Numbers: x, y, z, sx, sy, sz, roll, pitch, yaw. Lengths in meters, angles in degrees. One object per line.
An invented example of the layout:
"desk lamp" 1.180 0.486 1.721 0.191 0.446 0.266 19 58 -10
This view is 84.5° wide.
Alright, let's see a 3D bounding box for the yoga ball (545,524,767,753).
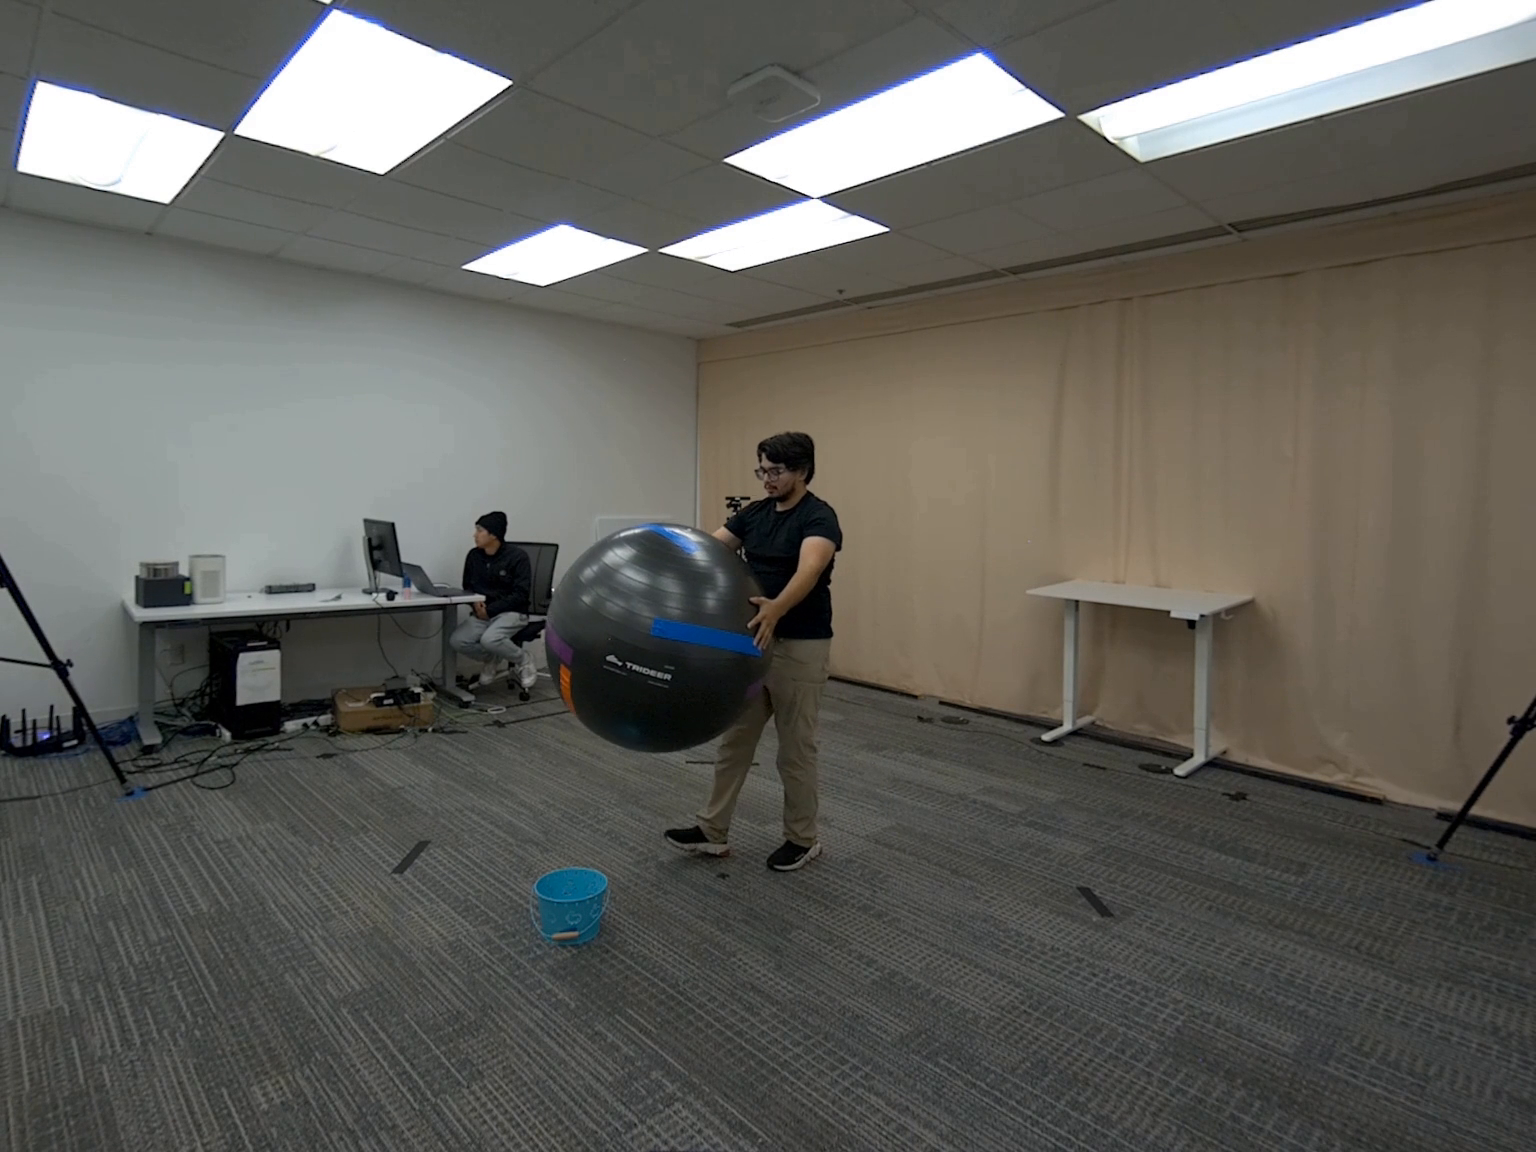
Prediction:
"yoga ball" -0.364 0.212 2.801 0.757 0.756 0.760 1 4 -1
